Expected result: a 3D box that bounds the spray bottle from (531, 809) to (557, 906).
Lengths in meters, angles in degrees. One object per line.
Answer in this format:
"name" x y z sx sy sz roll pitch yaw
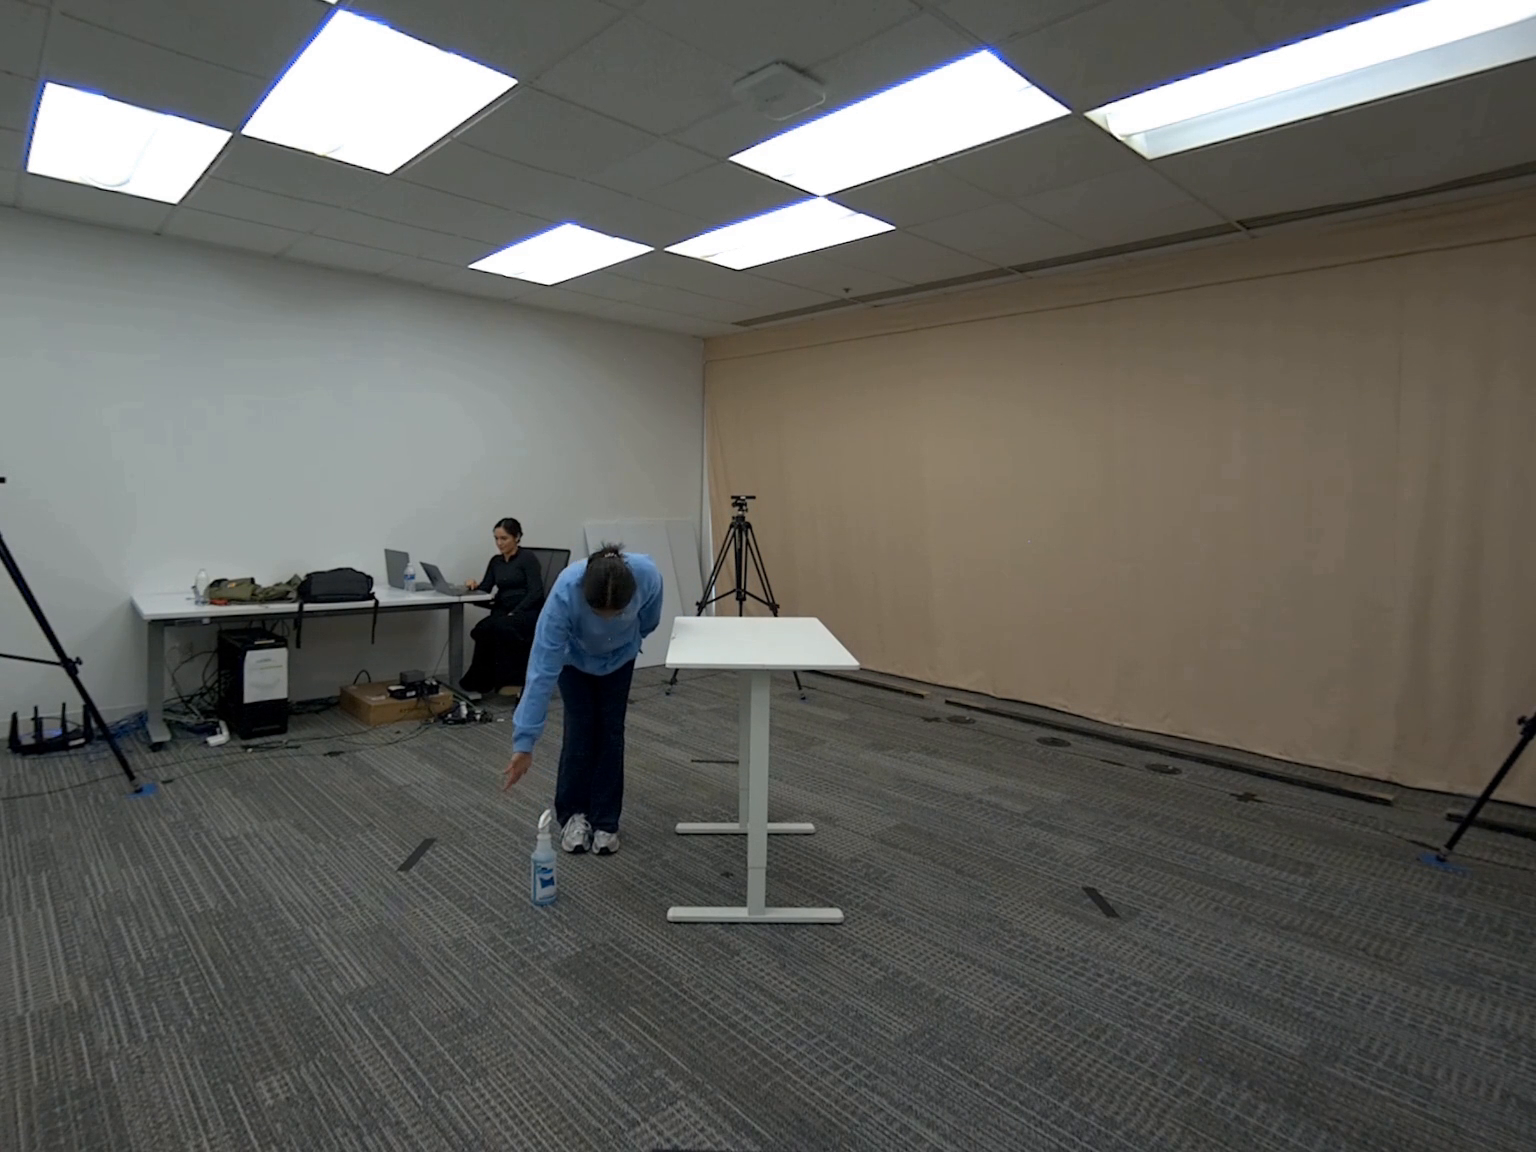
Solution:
"spray bottle" -0.779 0.971 2.874 0.089 0.296 0.088 4 4 28
